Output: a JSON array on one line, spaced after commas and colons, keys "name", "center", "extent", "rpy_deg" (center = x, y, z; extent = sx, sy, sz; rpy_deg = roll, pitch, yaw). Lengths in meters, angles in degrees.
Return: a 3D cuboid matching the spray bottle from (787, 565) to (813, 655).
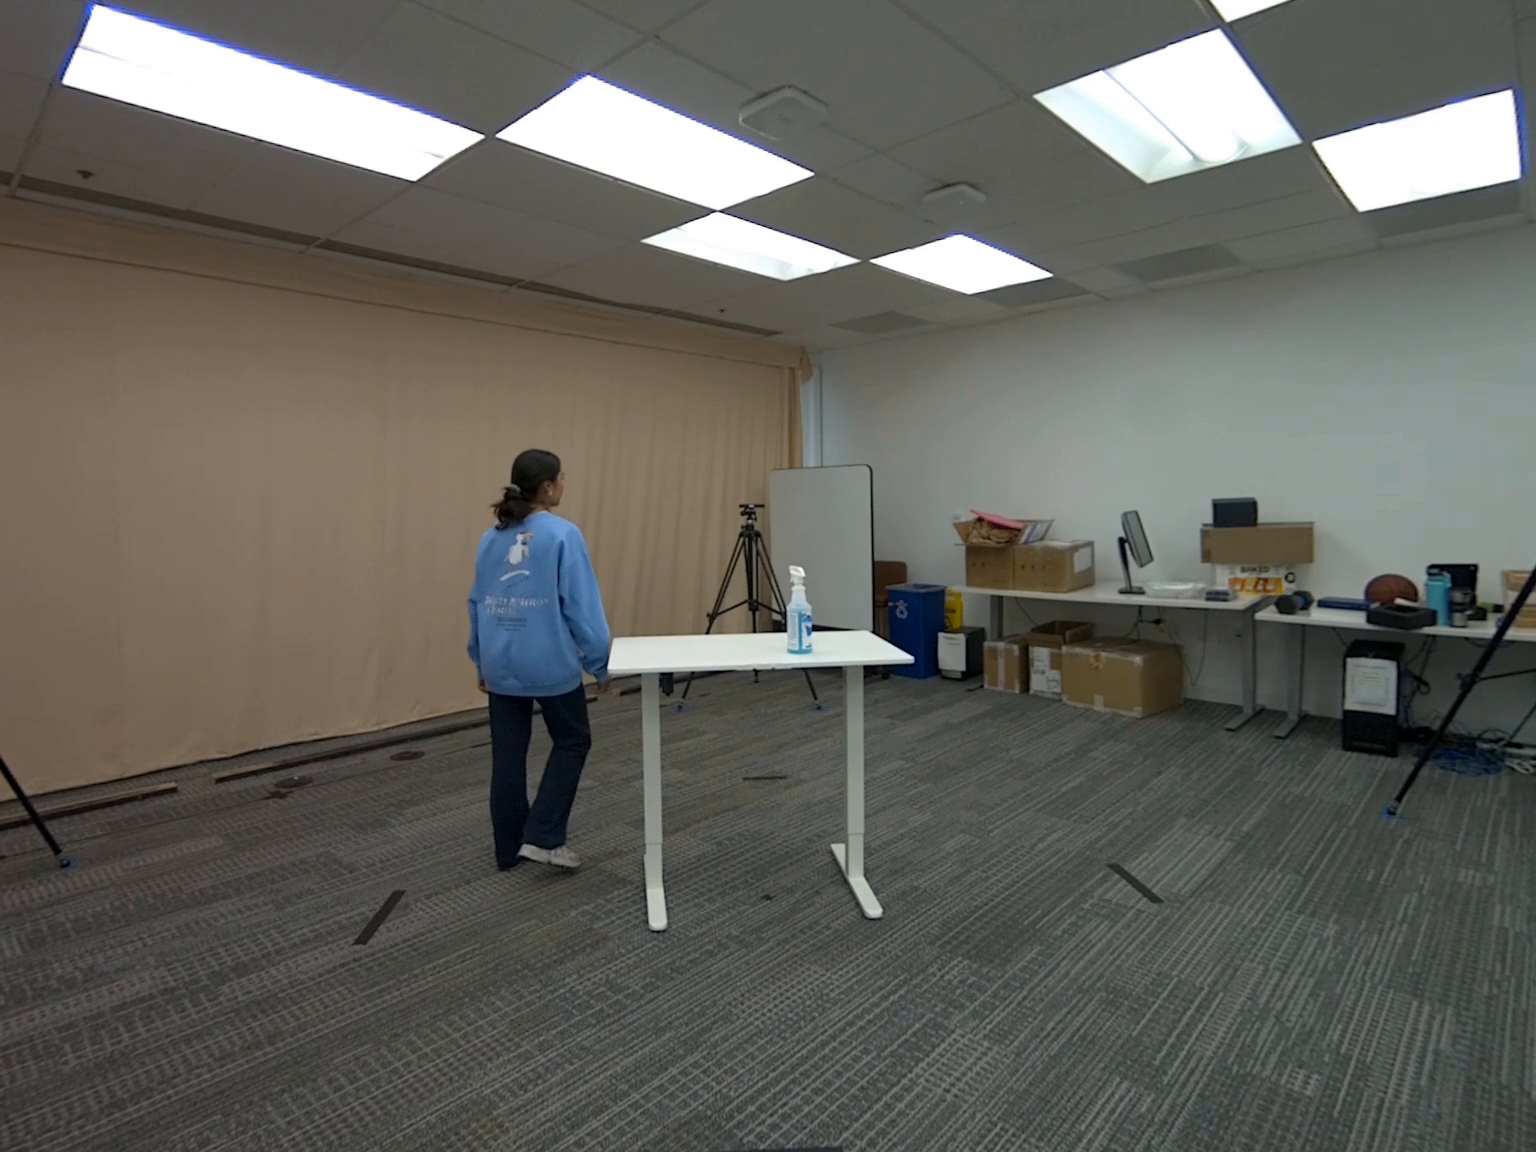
[{"name": "spray bottle", "center": [0.112, 0.119, 2.904], "extent": [0.087, 0.297, 0.090], "rpy_deg": [-2, 3, 0]}]
